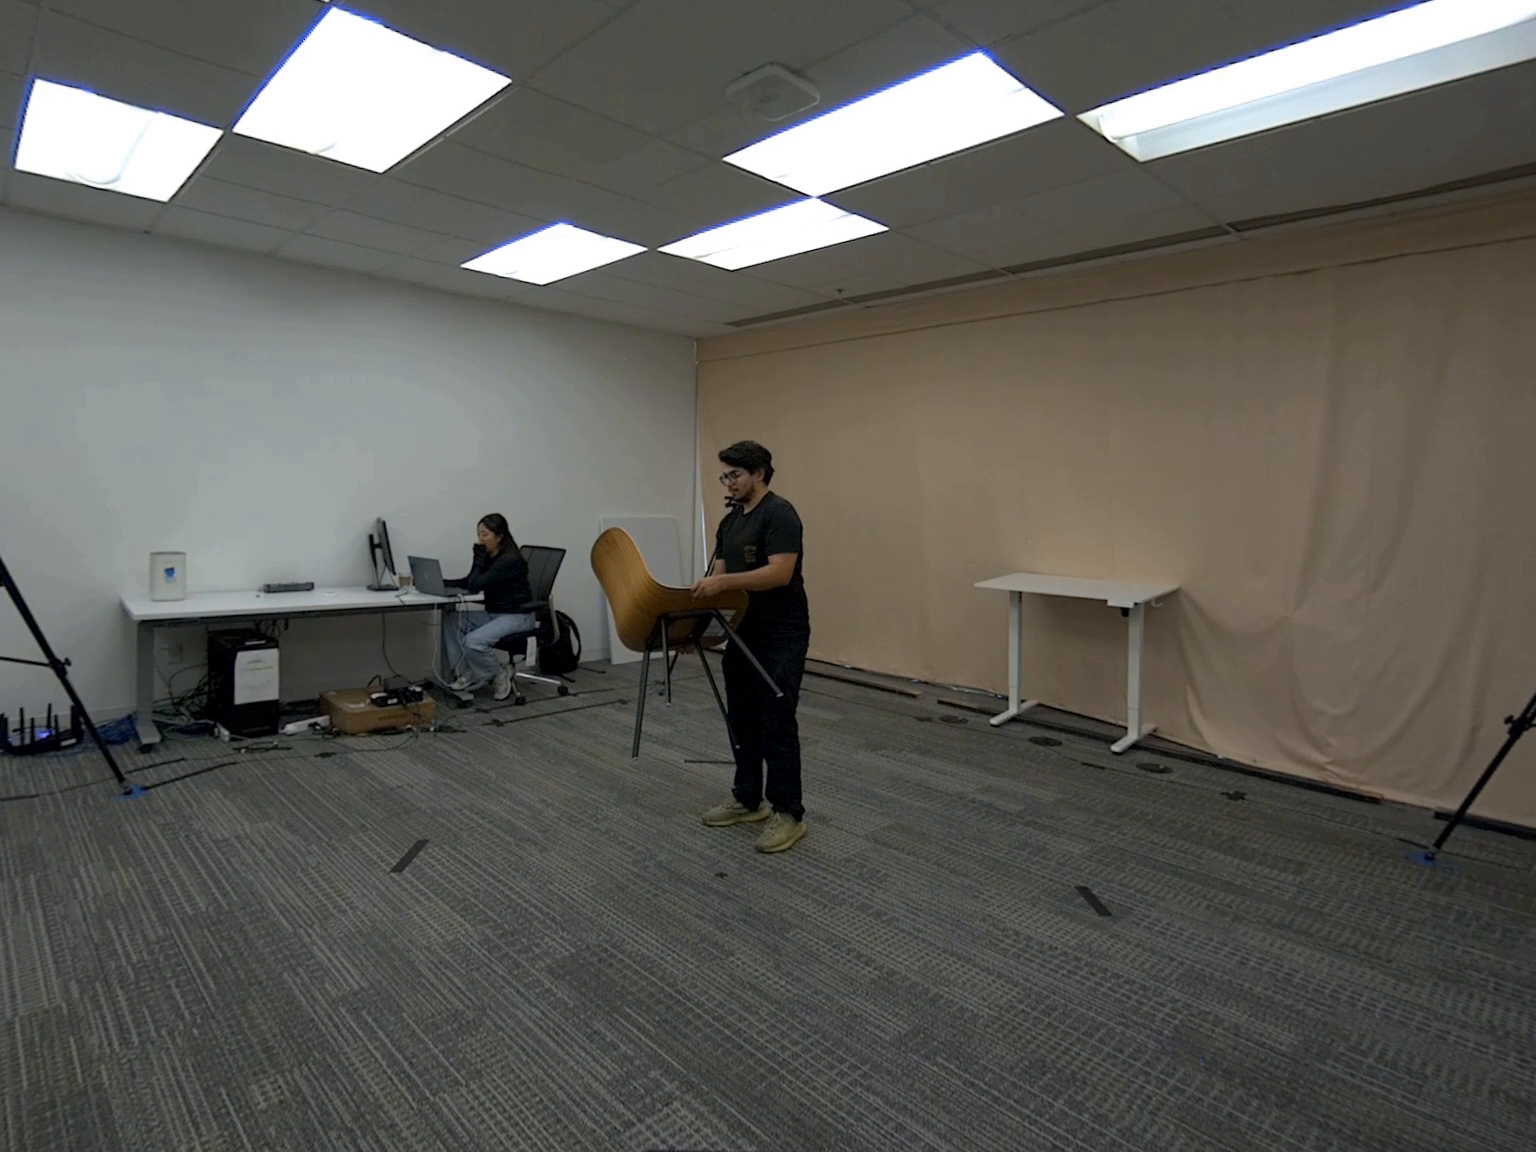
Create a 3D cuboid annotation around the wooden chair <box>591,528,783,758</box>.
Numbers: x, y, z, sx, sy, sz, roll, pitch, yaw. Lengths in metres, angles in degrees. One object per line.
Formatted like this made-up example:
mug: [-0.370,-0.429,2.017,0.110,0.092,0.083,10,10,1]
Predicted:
wooden chair: [-0.354,0.222,3.369,0.513,0.900,0.475,-4,-35,-30]
